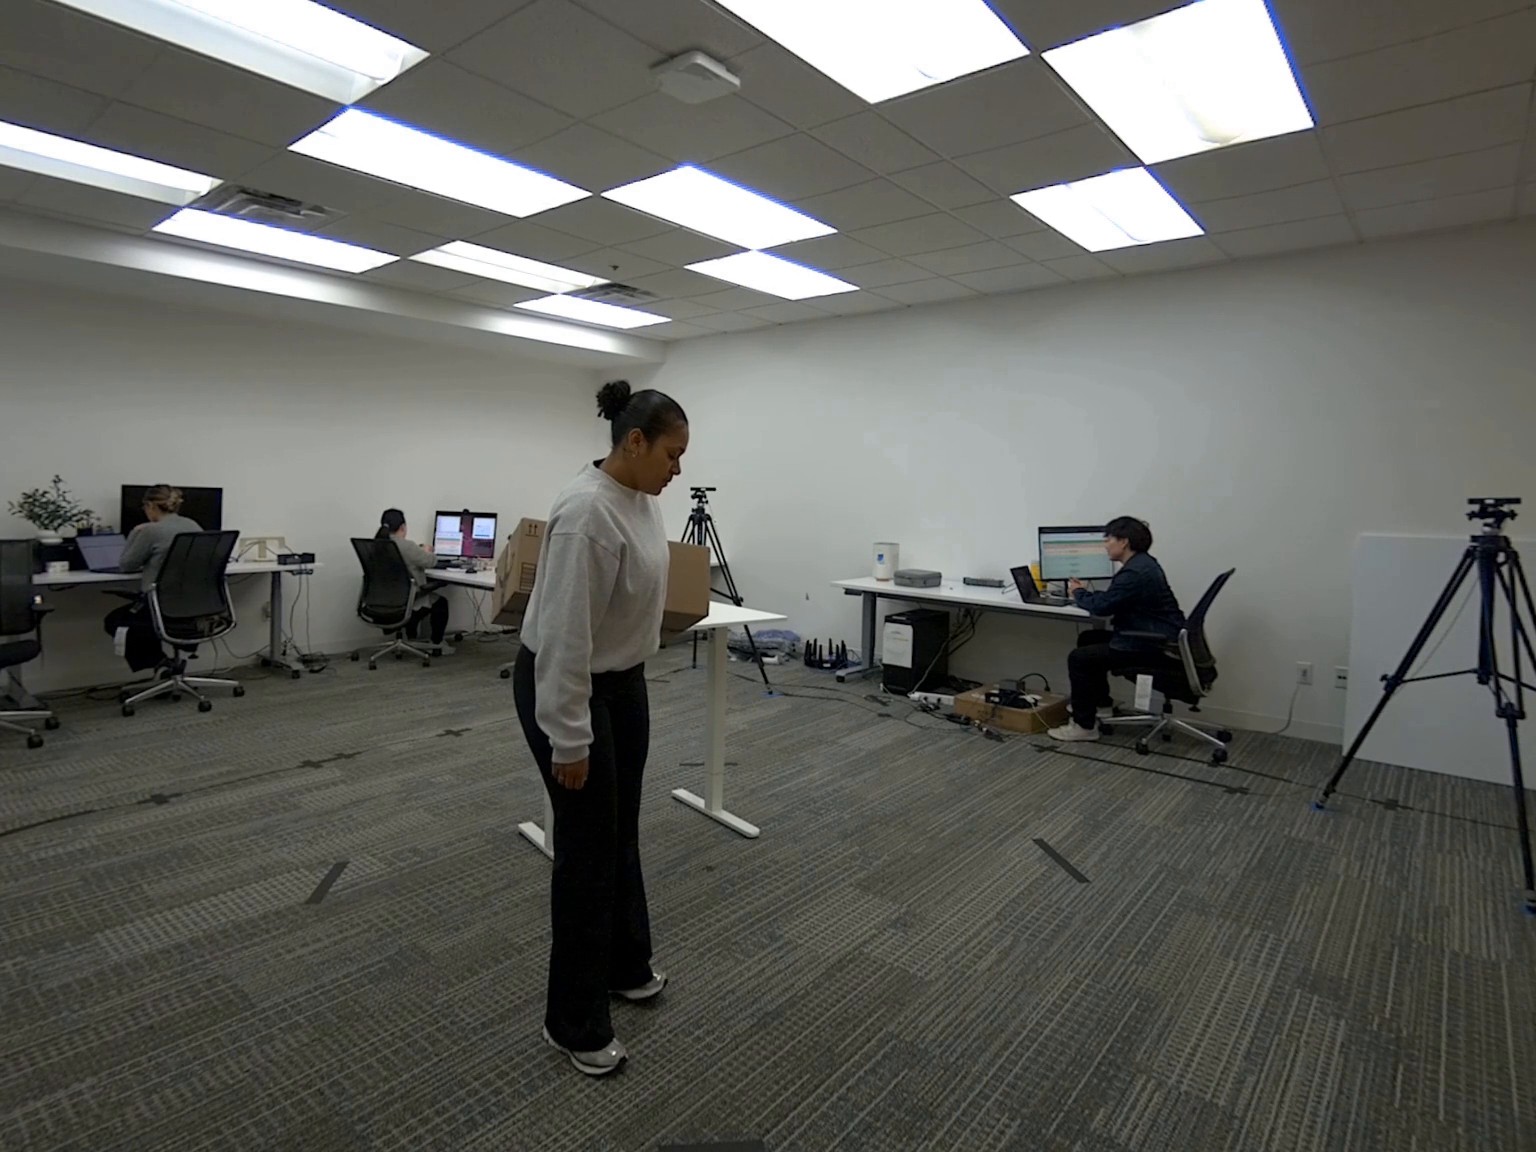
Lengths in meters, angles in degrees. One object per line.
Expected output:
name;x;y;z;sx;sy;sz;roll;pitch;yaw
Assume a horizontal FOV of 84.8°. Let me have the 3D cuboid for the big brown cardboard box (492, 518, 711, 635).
big brown cardboard box;-0.526;0.034;2.579;0.574;0.237;0.421;7;-19;-24
